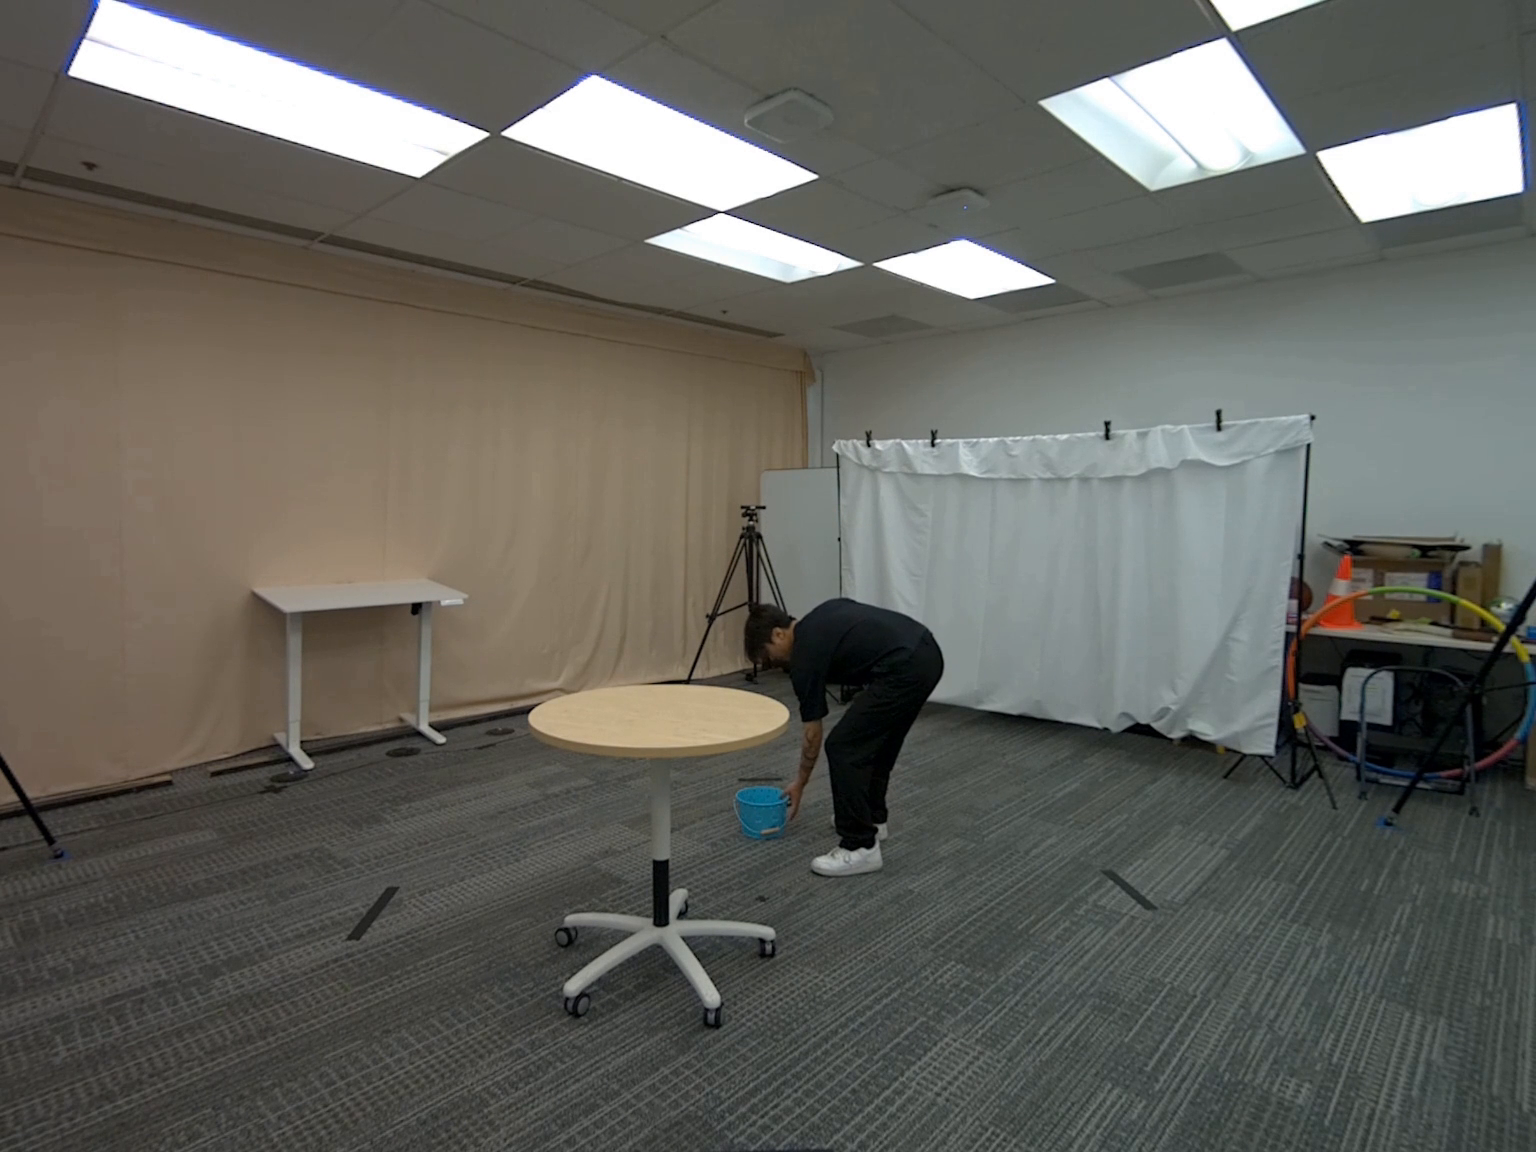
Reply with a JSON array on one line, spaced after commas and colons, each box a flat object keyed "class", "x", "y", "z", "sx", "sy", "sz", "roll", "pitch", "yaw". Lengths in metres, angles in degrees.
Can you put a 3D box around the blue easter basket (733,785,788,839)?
[{"class": "blue easter basket", "x": -0.029, "y": 1.014, "z": 3.607, "sx": 0.243, "sy": 0.155, "sz": 0.244, "roll": 0, "pitch": 4, "yaw": -2}]
